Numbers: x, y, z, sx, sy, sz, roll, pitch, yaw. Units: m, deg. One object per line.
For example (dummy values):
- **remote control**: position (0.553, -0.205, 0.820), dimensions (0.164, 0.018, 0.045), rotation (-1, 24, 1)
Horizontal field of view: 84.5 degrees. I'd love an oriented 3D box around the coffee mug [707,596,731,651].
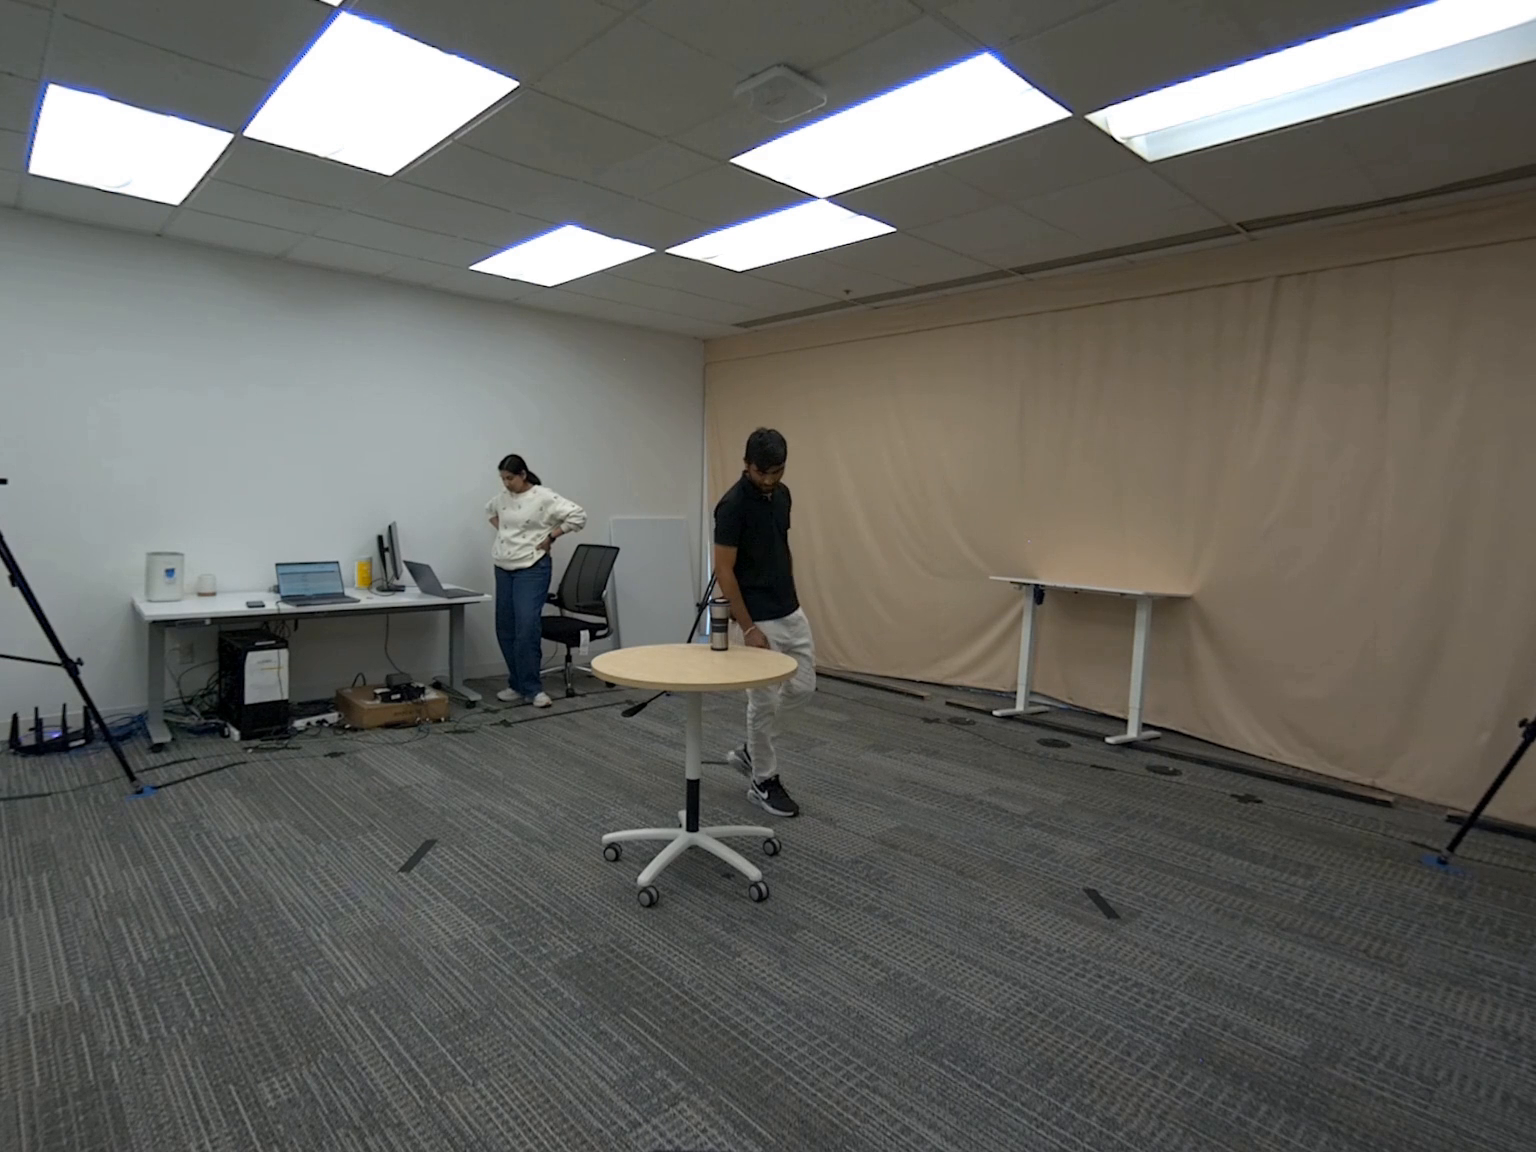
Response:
- **coffee mug**: position (-0.194, 0.199, 3.392), dimensions (0.089, 0.203, 0.120), rotation (-1, 2, 28)
